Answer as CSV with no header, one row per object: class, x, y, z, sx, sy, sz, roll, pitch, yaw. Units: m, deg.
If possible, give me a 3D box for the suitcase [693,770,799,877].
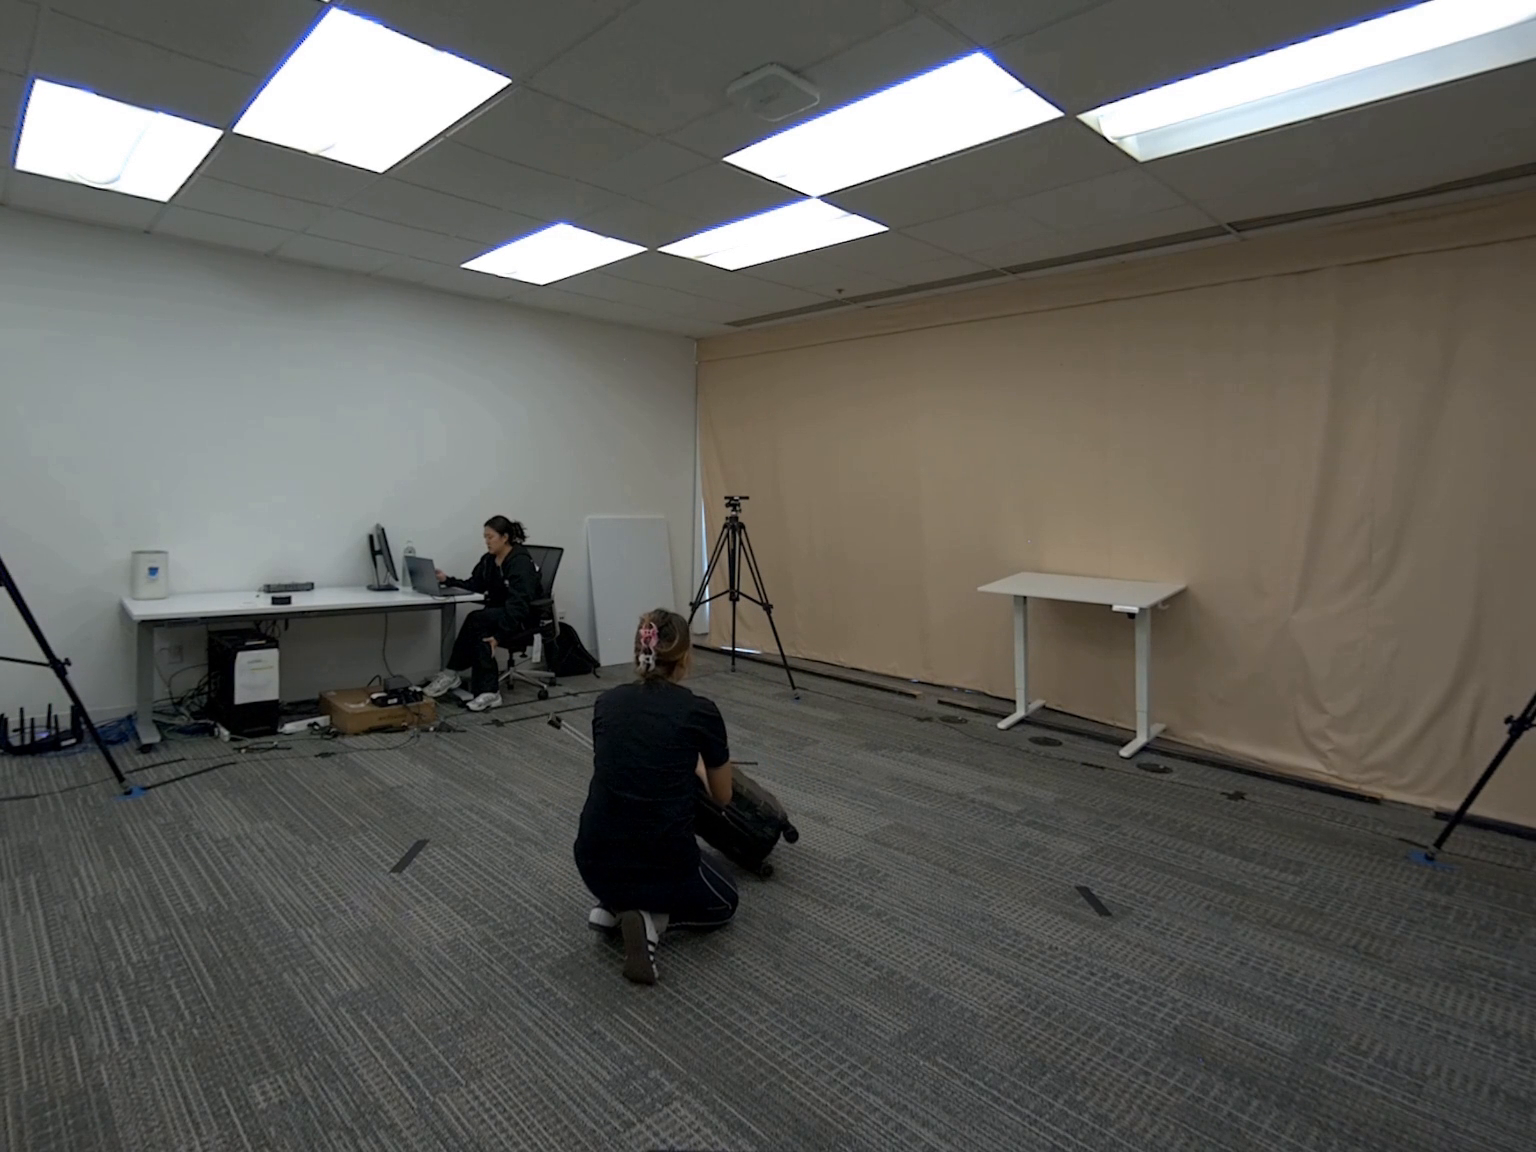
suitcase,-0.349,0.730,3.172,0.972,0.257,0.386,38,-3,-6
